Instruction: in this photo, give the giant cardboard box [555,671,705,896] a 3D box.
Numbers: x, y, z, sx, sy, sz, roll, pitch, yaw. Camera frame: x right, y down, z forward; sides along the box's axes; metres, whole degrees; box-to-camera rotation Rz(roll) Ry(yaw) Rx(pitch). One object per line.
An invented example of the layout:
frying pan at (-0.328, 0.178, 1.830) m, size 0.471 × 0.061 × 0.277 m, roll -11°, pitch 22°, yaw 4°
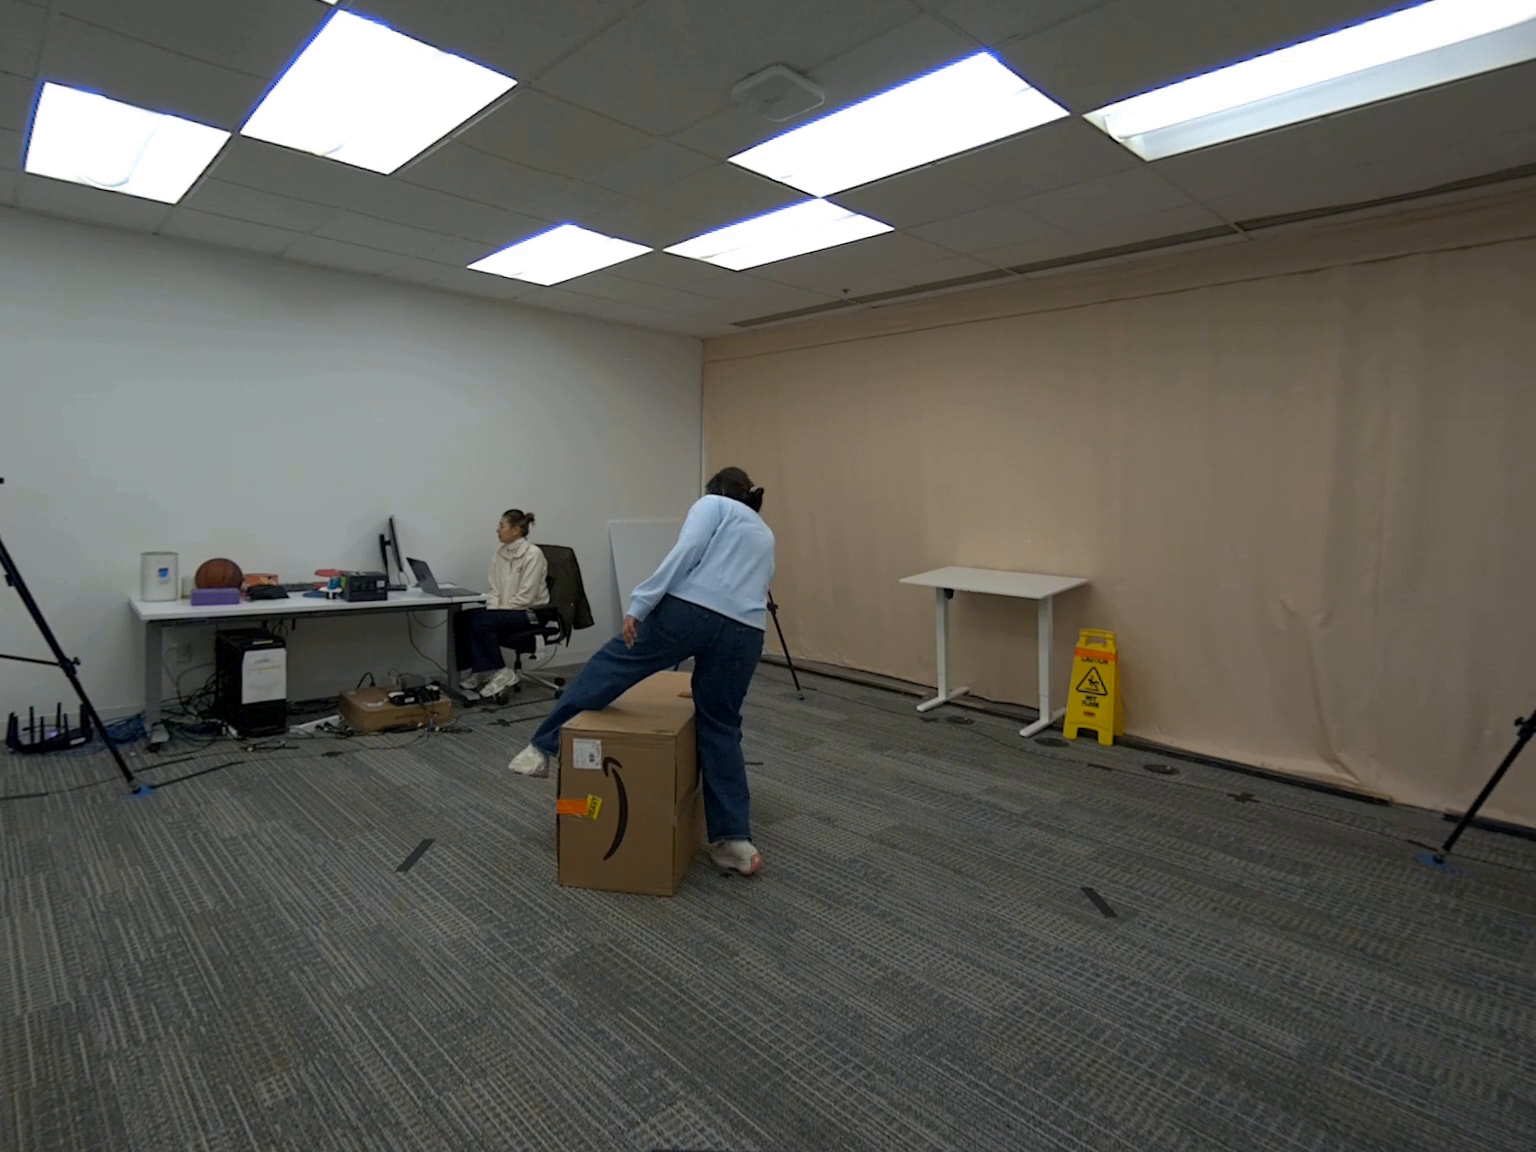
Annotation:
giant cardboard box at (-0.474, 0.778, 3.448) m, size 0.429 × 0.576 × 1.021 m, roll 2°, pitch 5°, yaw 8°
